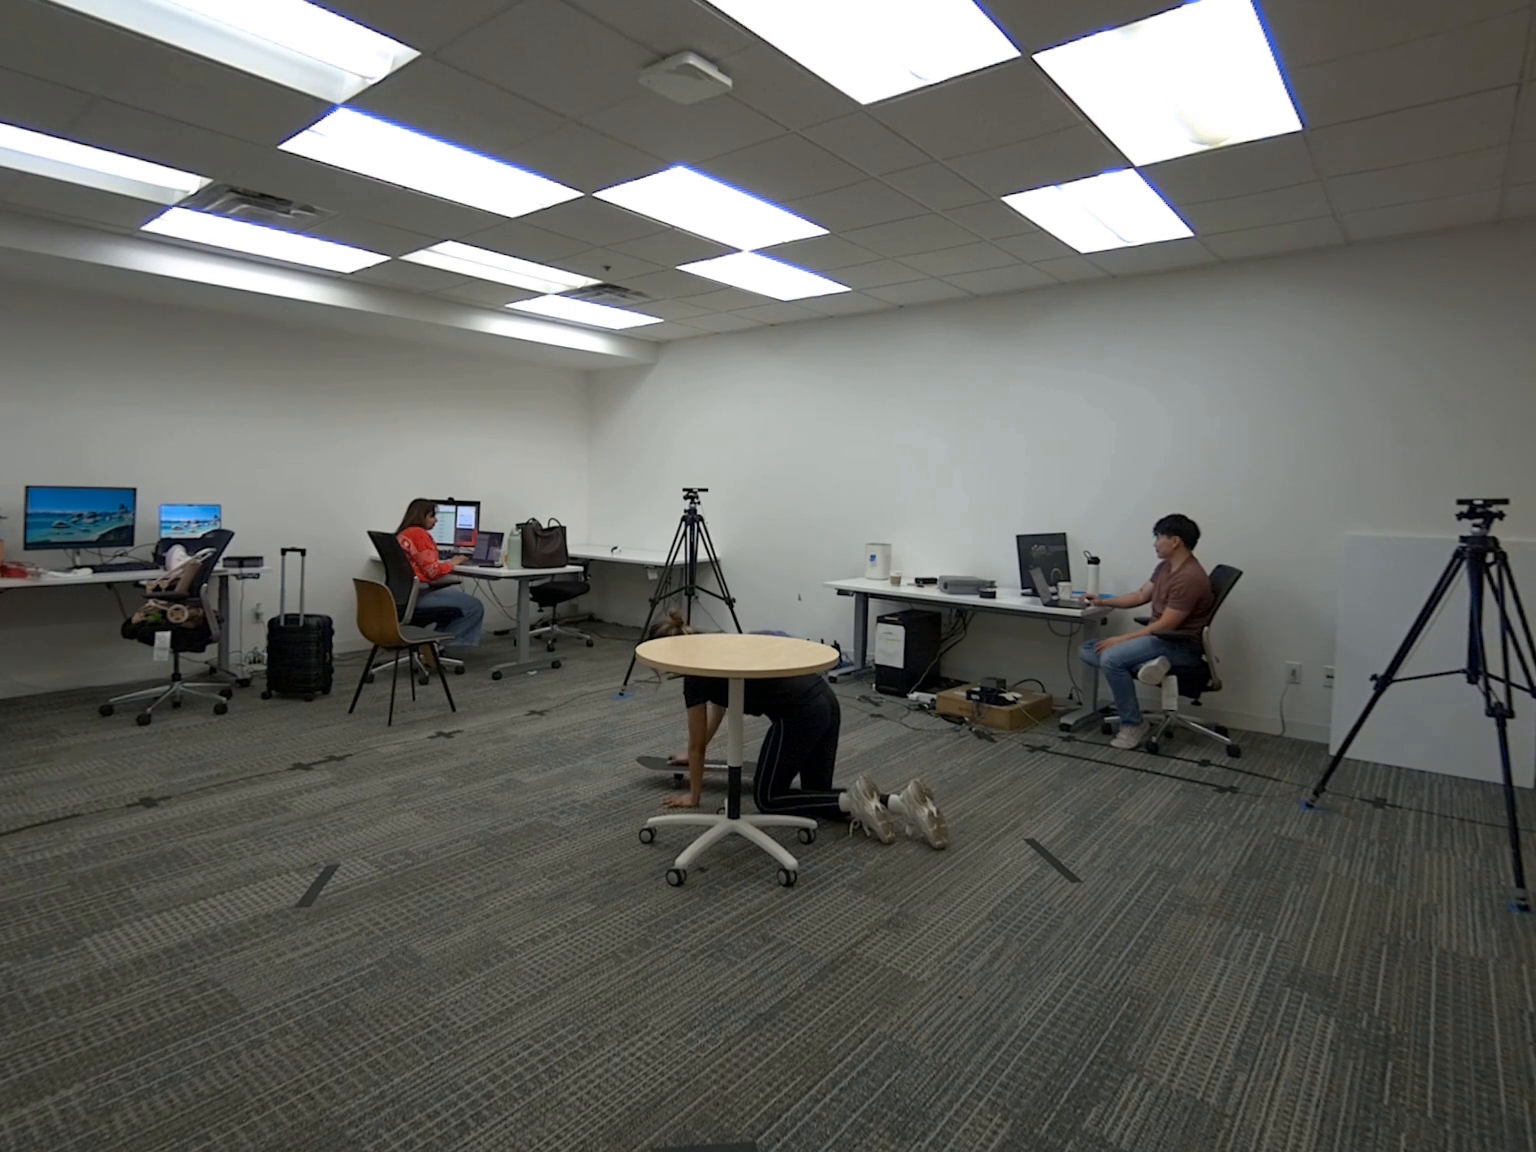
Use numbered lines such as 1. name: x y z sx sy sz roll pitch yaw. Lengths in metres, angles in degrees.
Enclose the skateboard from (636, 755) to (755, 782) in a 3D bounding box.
1. skateboard: -0.245 0.929 4.008 0.790 0.110 0.193 2 4 5
